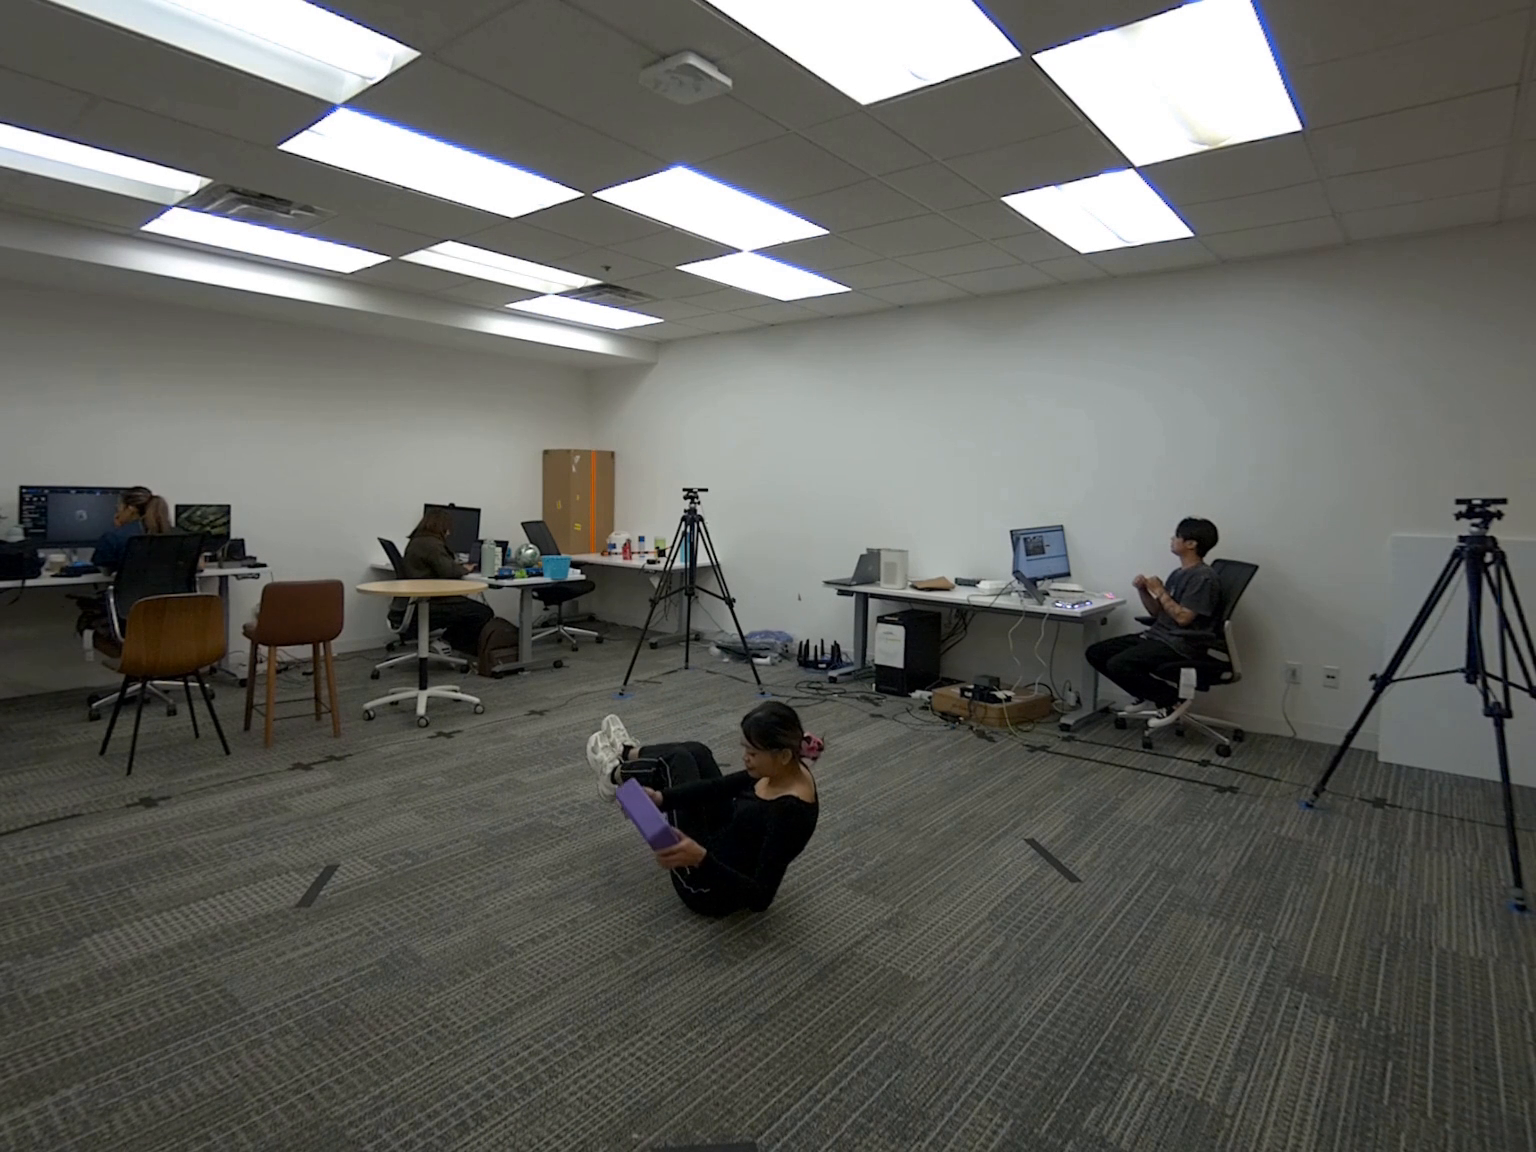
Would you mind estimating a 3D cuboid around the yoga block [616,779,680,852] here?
[{"bbox_3d":[-0.353,0.710,2.501,0.076,0.143,0.239,-32,39,-14],"label":"yoga block"}]
